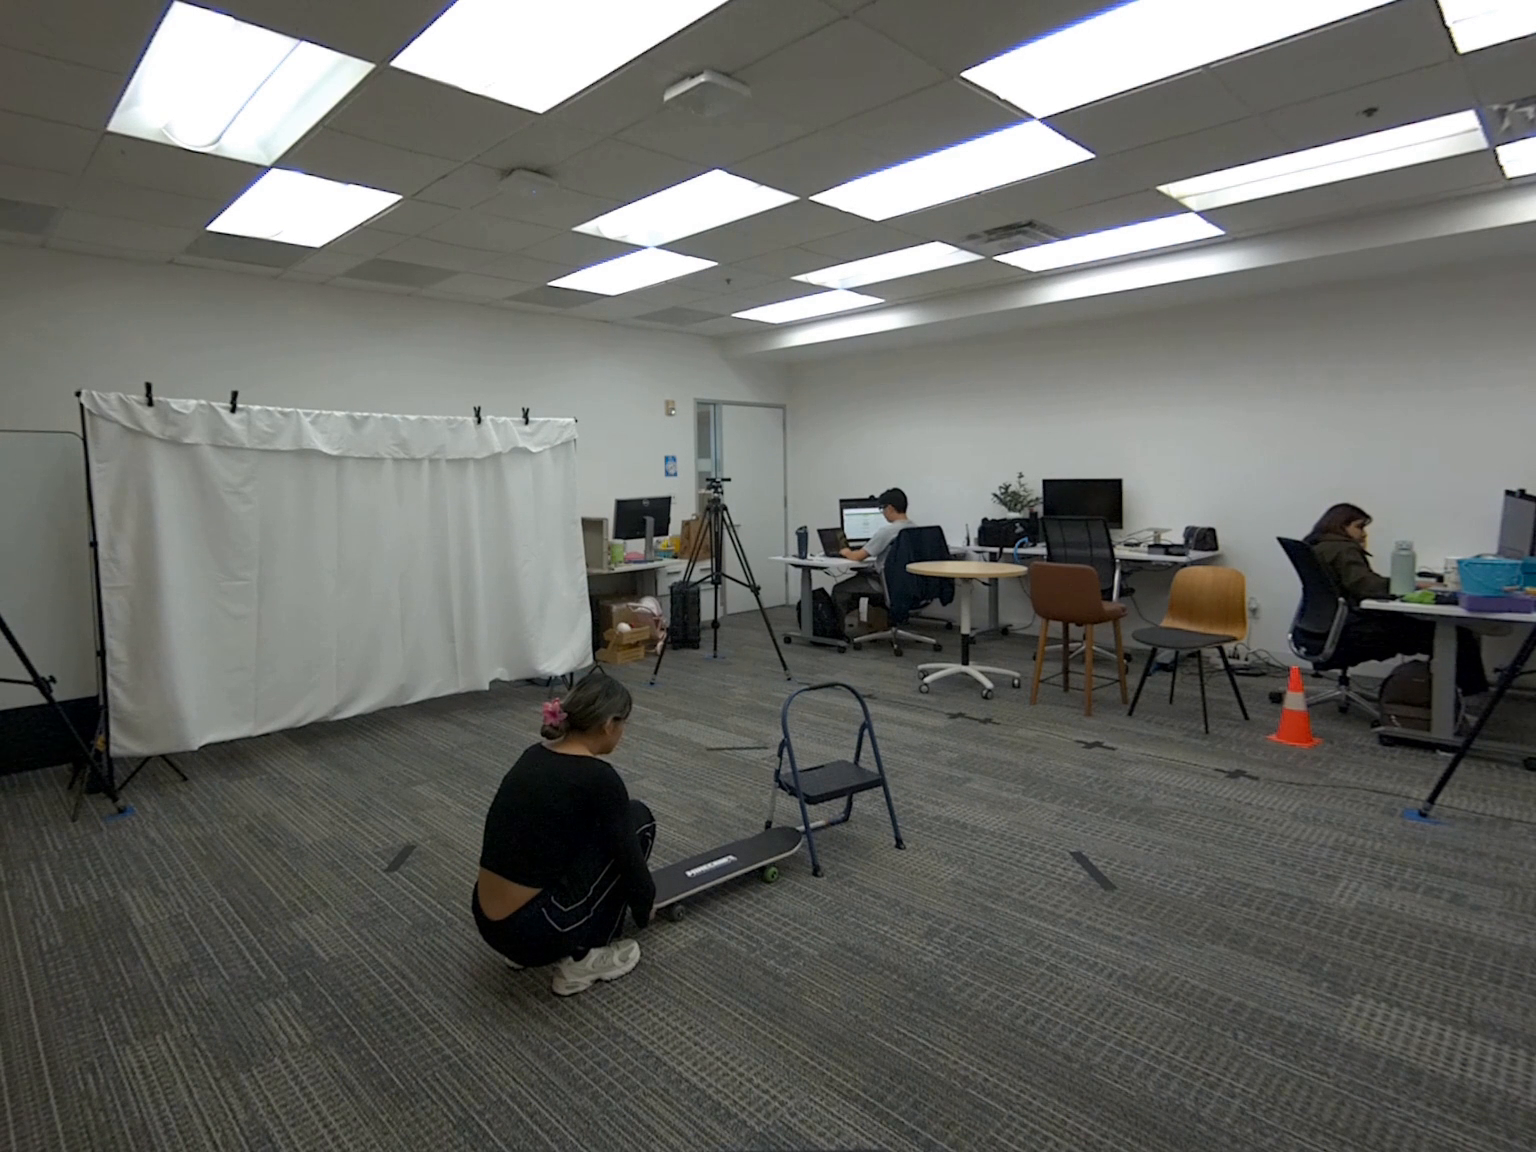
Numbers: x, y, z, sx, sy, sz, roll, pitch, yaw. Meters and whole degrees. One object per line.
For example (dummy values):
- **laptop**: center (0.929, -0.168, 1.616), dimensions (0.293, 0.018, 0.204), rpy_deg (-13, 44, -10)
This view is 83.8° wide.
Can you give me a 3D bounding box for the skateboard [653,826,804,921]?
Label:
- **skateboard**: center (-0.187, 1.013, 2.895), dimensions (0.765, 0.110, 0.199), rpy_deg (-7, 8, -39)
